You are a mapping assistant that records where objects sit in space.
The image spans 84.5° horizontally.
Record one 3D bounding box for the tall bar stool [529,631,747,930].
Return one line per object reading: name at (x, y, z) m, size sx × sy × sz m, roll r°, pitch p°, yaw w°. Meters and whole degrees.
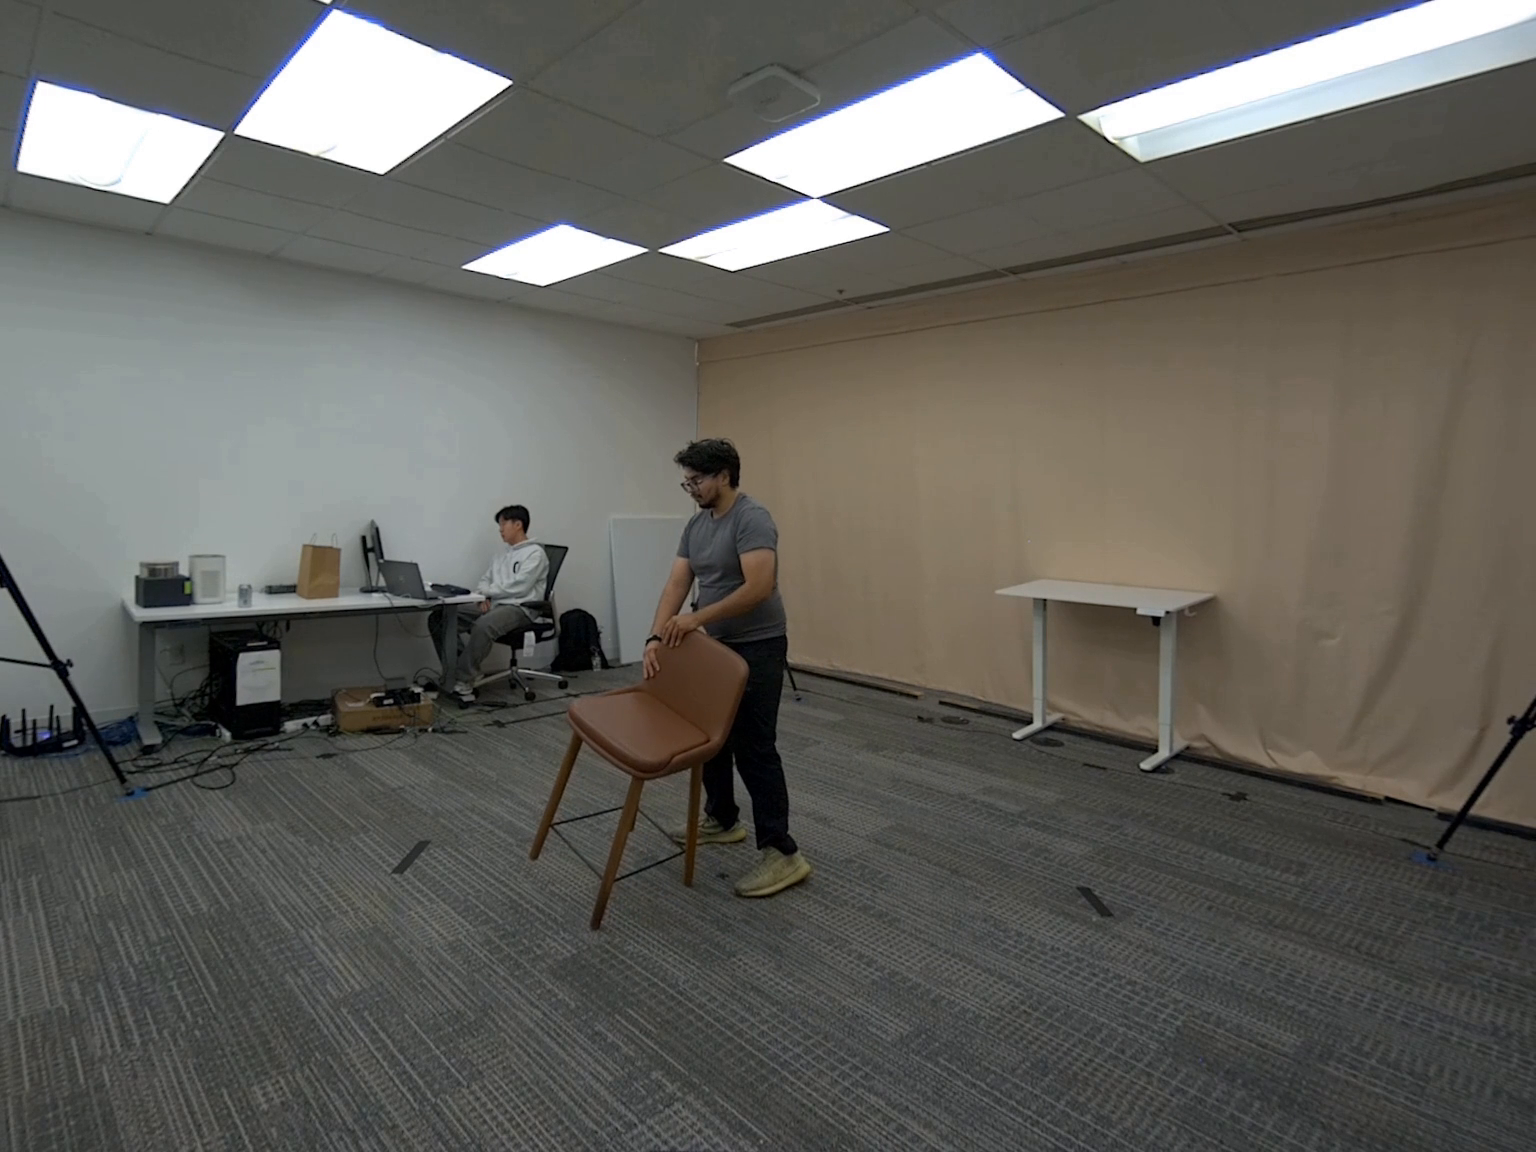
tall bar stool at (-0.443, 0.653, 2.881) m, size 0.470 × 0.884 × 0.456 m, roll 26°, pitch 16°, yaw 40°
